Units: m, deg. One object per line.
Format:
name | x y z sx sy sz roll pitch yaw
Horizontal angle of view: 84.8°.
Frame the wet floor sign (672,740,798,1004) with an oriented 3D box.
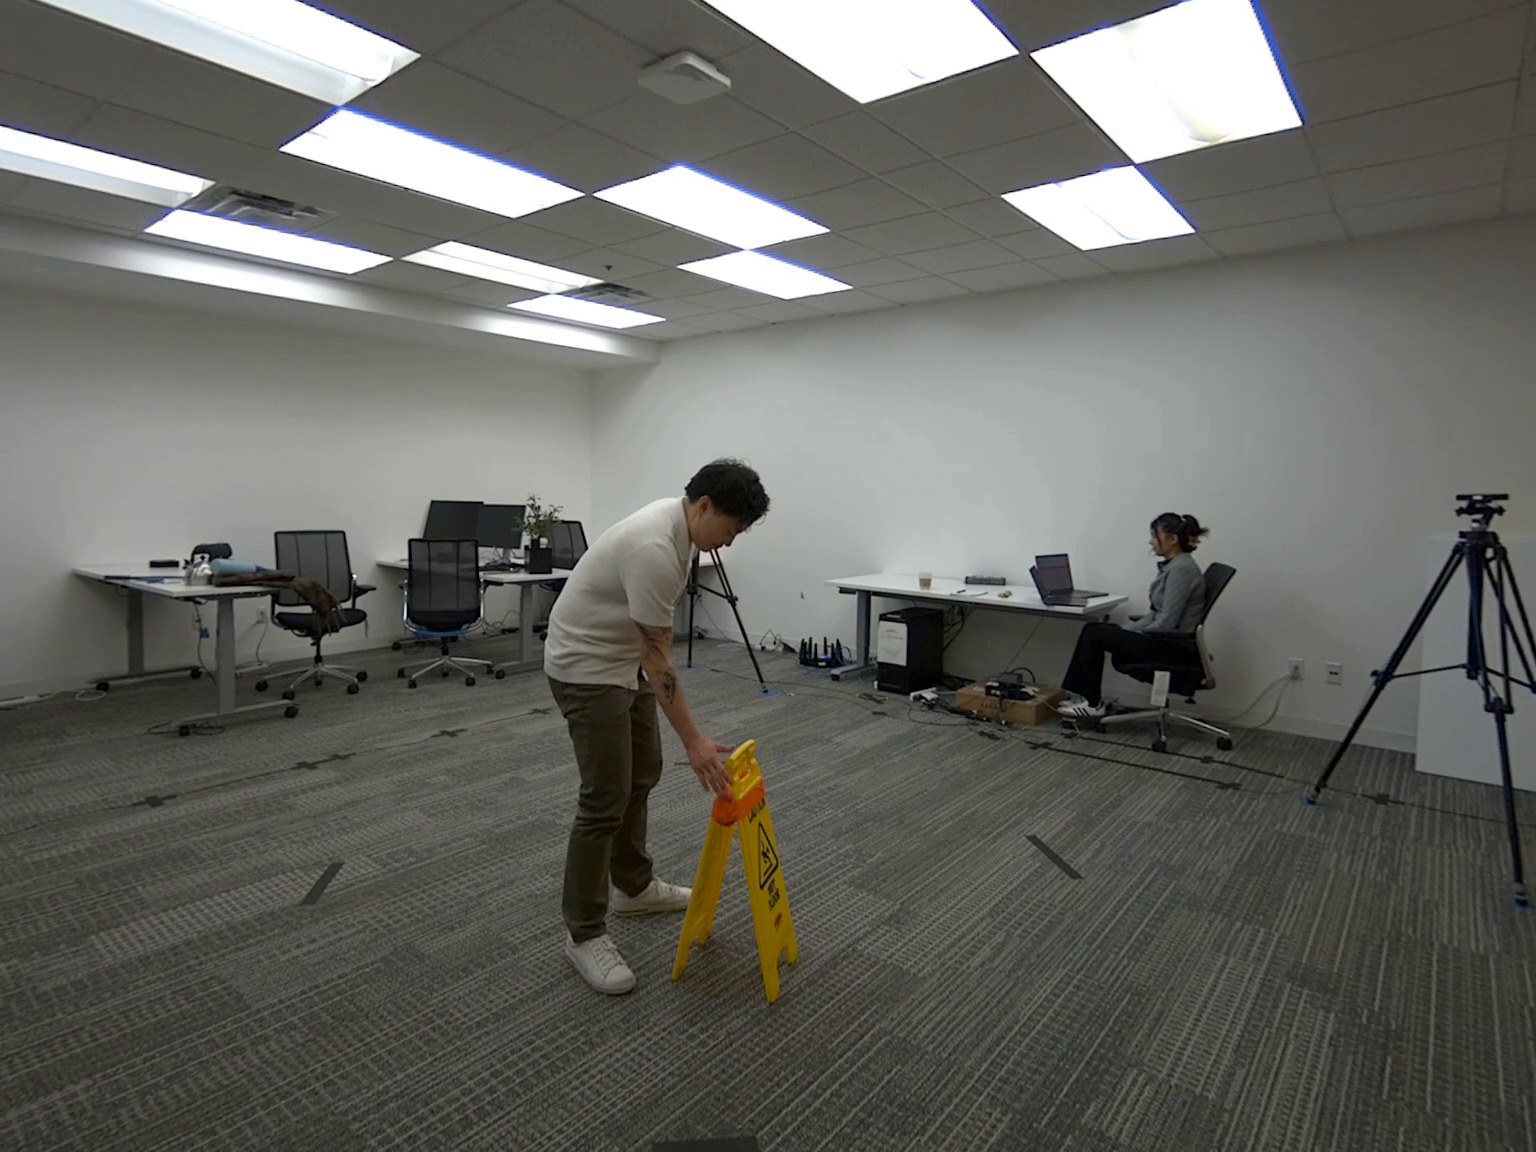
wet floor sign | -0.090 0.811 2.451 0.296 0.644 0.277 3 4 19
